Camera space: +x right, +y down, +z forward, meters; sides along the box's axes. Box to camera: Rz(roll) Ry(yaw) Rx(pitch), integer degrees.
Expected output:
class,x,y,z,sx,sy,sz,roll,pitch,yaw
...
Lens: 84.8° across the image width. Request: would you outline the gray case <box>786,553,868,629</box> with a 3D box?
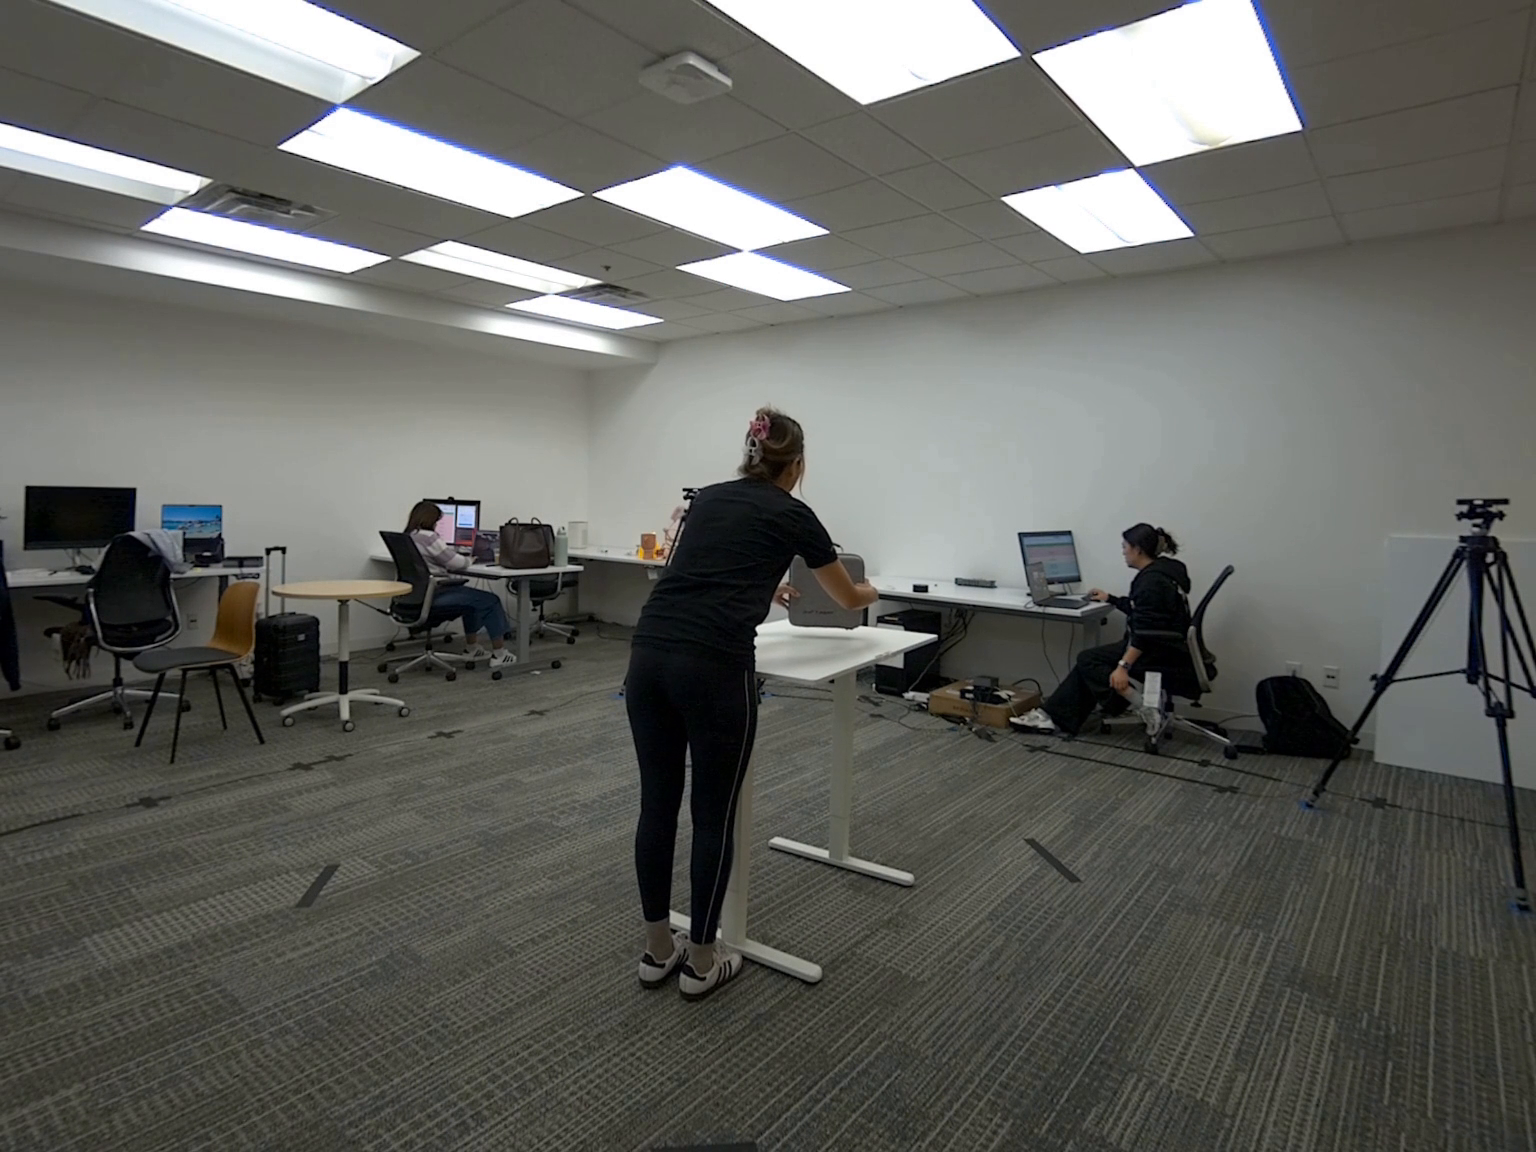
class,x,y,z,sx,sy,sz,roll,pitch,yaw
gray case,0.199,0.042,2.969,0.259,0.260,0.103,4,1,7
